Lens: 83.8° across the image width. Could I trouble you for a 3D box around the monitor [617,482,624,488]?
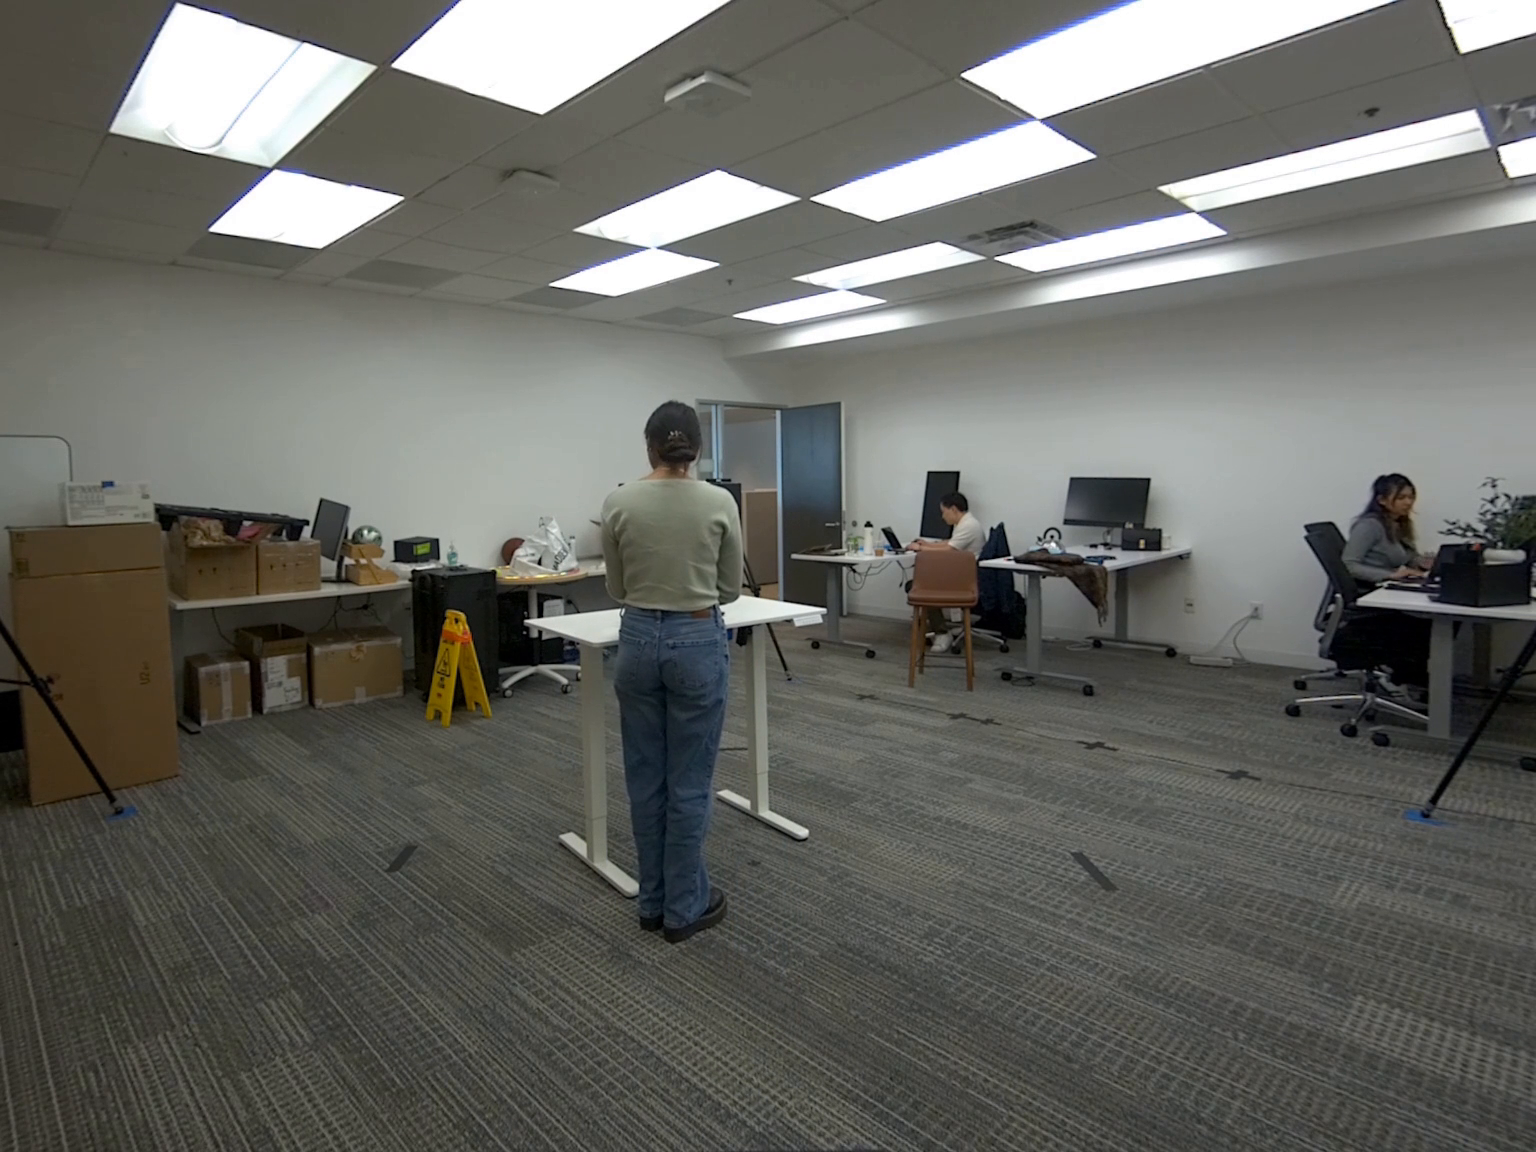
[{"bbox_3d":[-0.327,-0.086,3.185,0.525,0.519,0.193,-4,10,-39],"label":"monitor"}]
